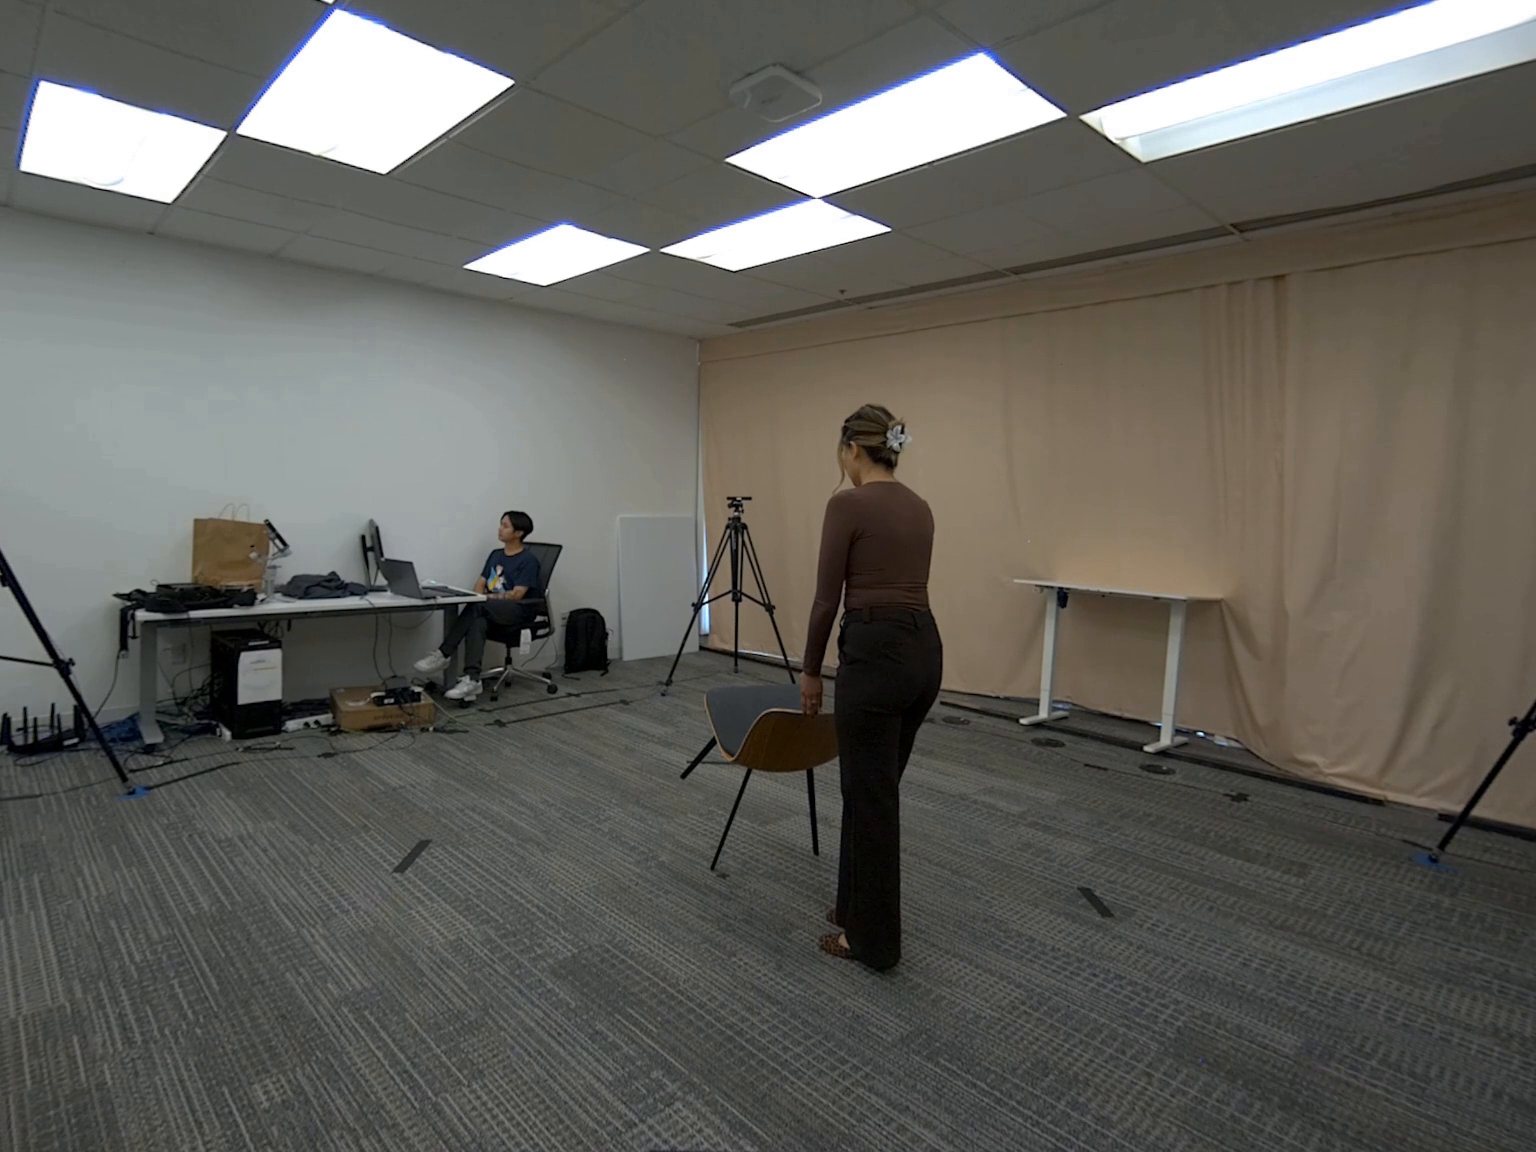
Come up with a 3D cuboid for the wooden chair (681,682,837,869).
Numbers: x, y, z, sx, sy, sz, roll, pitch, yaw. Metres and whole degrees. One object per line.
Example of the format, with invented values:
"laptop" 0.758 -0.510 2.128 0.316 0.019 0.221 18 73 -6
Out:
"wooden chair" 0.007 0.615 3.178 0.470 0.865 0.539 0 39 -23
